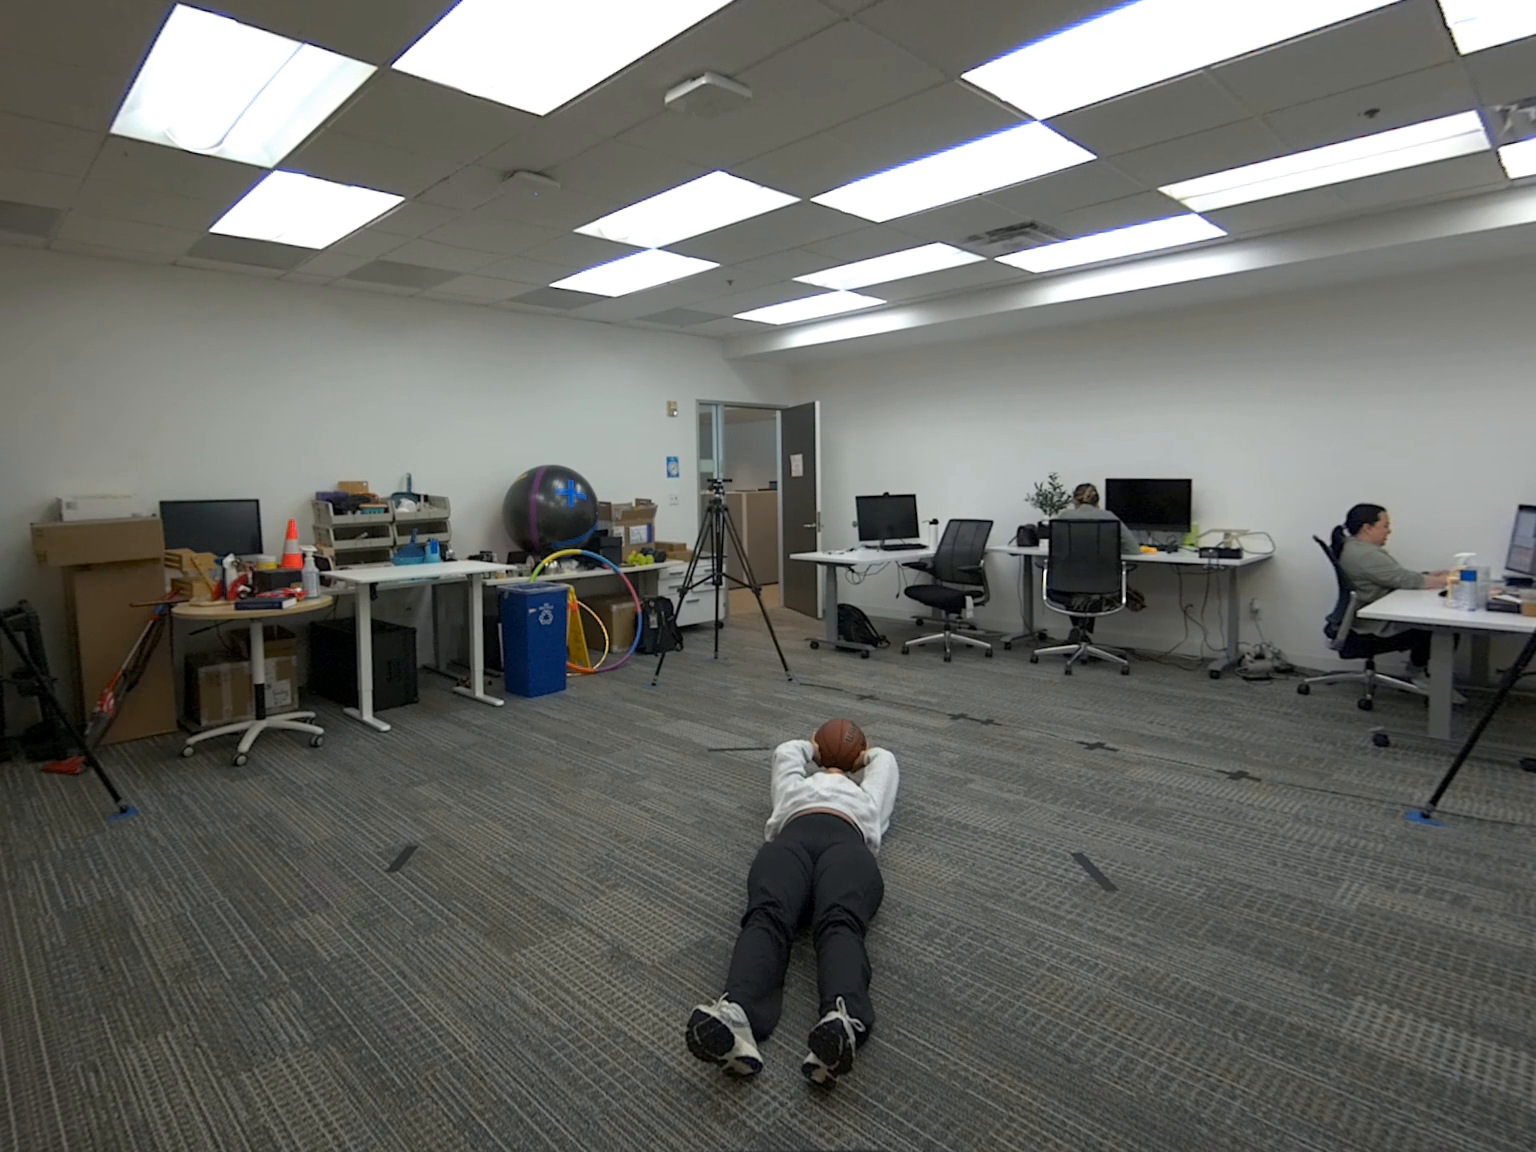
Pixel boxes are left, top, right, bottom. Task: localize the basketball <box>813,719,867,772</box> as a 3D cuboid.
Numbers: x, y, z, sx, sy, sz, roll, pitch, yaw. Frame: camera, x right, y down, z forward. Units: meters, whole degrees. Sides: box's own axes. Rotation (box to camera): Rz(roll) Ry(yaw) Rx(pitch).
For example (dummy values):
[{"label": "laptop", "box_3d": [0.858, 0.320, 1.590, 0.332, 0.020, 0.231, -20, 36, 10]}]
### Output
[{"label": "basketball", "box_3d": [0.326, 0.766, 3.868, 0.236, 0.235, 0.237, -1, 4, -2]}]
